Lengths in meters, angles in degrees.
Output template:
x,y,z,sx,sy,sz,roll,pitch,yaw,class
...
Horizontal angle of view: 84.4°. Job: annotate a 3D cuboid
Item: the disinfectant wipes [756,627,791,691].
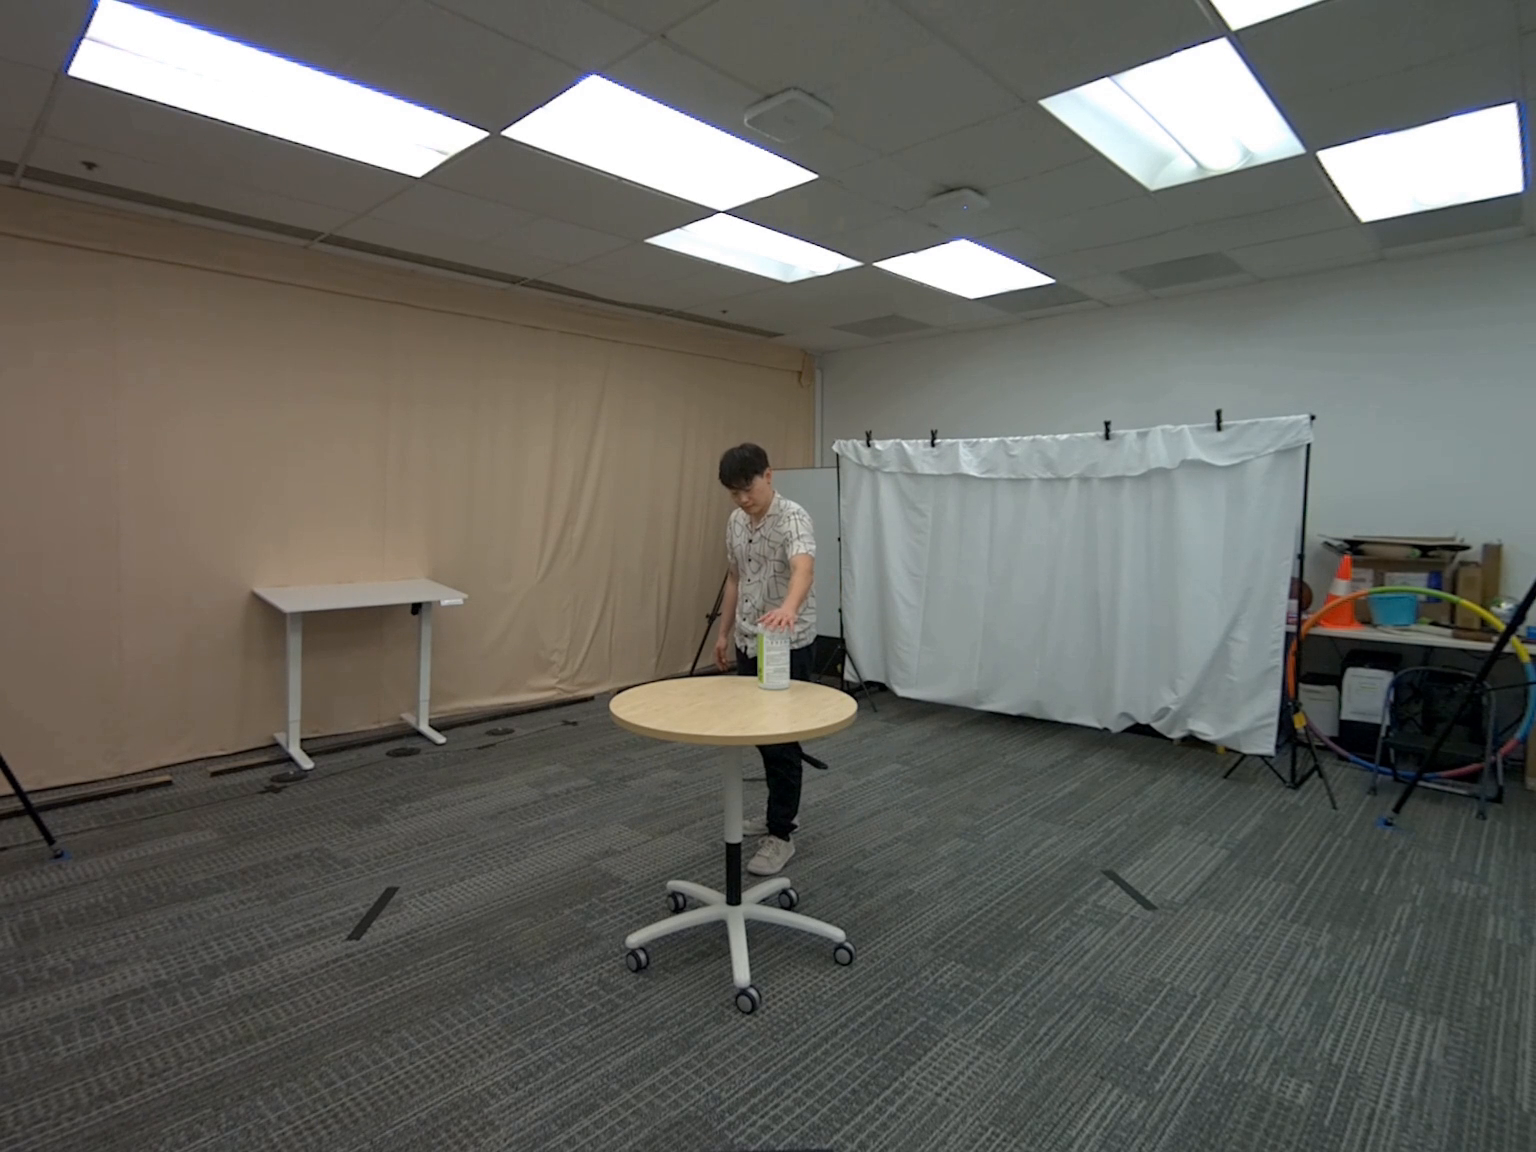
x,y,z,sx,sy,sz,roll,pitch,yaw,class
0.010,0.267,2.830,0.118,0.217,0.118,-1,3,-2,disinfectant wipes
